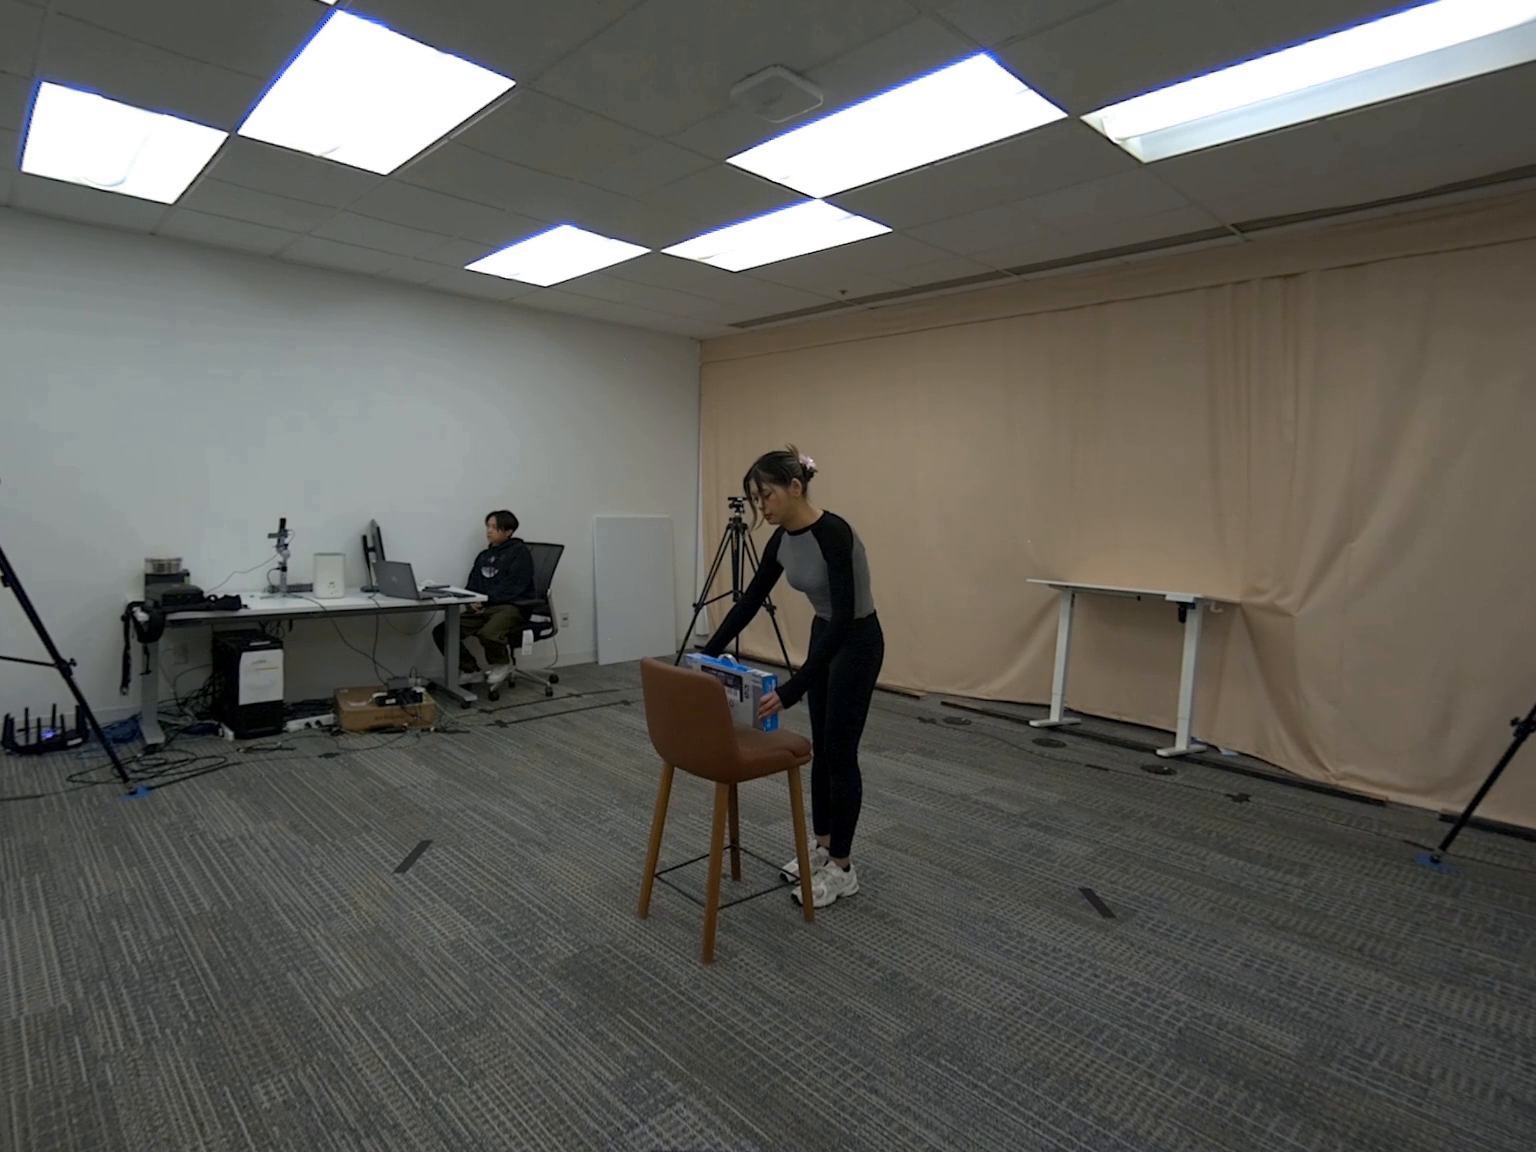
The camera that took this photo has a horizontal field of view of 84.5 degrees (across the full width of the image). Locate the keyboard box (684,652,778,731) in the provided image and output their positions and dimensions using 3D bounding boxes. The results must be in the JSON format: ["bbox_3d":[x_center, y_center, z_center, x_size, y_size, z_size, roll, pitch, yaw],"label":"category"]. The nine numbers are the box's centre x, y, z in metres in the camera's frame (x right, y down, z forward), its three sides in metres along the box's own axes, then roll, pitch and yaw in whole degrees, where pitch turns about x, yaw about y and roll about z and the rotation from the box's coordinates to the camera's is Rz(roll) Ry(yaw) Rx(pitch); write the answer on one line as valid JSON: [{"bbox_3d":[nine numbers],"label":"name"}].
[{"bbox_3d":[-0.134,0.379,2.762,0.058,0.175,0.448,-4,7,-38],"label":"keyboard box"}]
